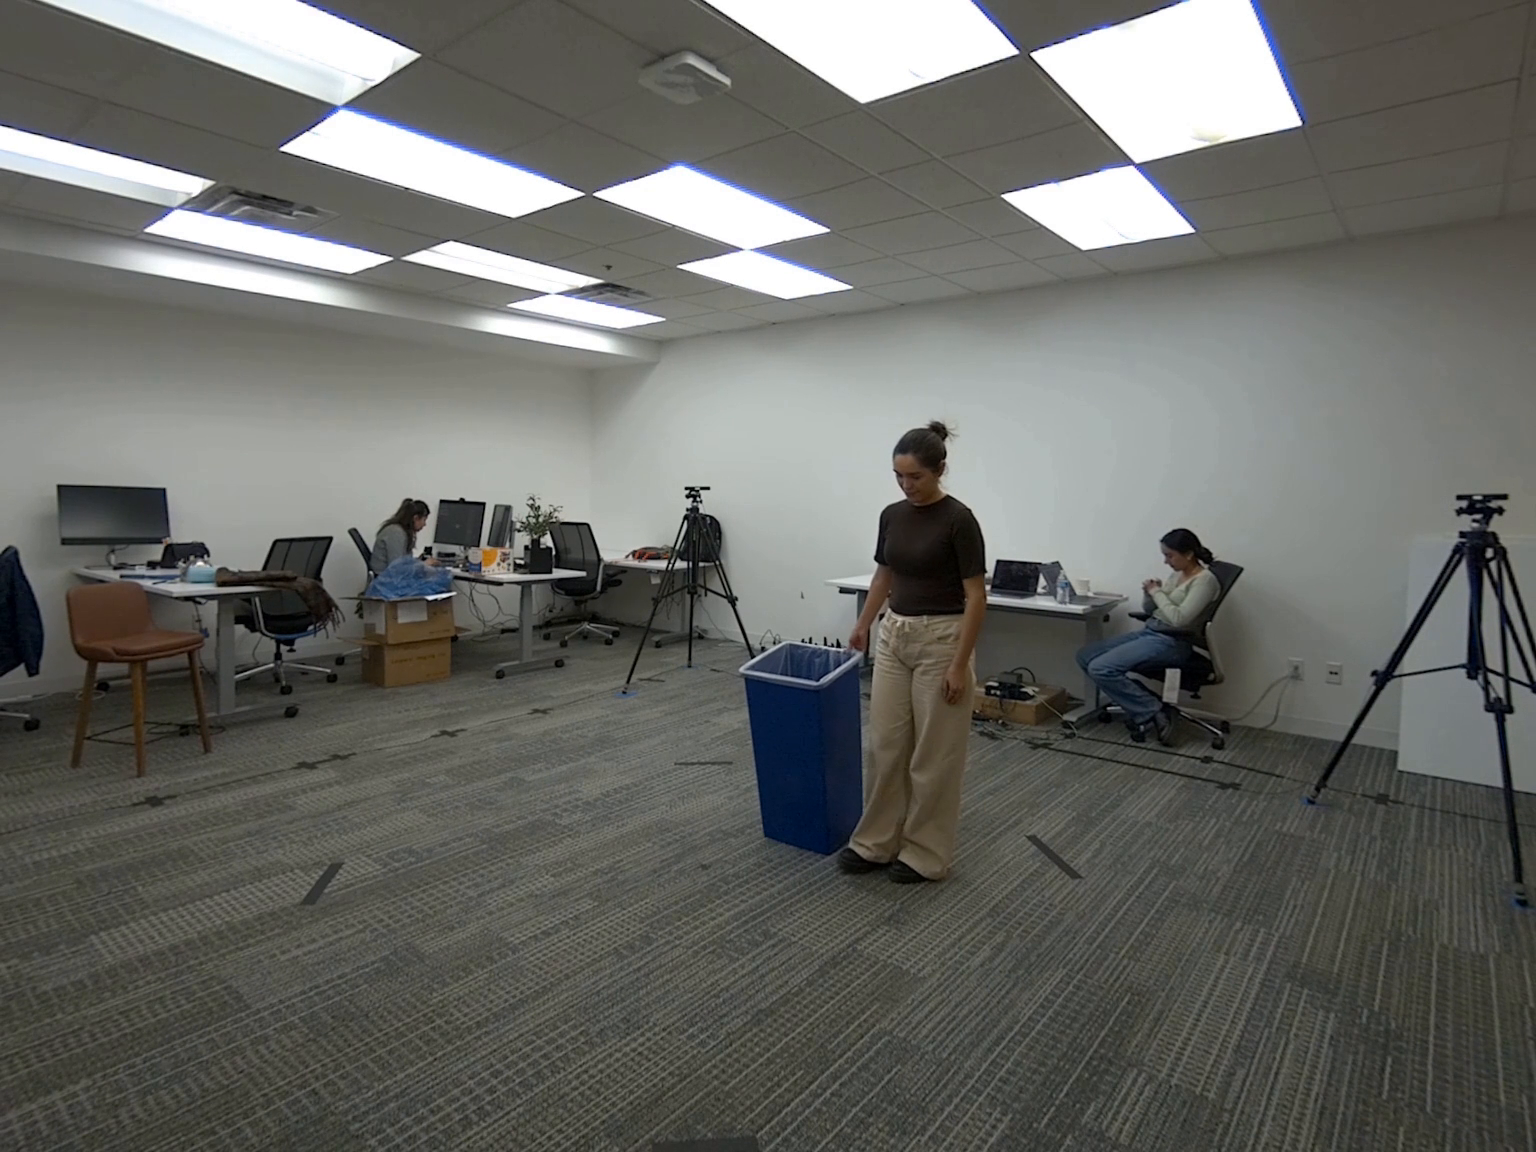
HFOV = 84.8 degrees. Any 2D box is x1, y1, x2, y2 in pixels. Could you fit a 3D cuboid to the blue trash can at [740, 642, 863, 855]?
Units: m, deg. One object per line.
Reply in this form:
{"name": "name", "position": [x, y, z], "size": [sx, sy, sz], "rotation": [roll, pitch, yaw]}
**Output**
{"name": "blue trash can", "position": [0.145, 0.671, 3.354], "size": [0.390, 0.705, 0.367], "rotation": [3, 13, 34]}
